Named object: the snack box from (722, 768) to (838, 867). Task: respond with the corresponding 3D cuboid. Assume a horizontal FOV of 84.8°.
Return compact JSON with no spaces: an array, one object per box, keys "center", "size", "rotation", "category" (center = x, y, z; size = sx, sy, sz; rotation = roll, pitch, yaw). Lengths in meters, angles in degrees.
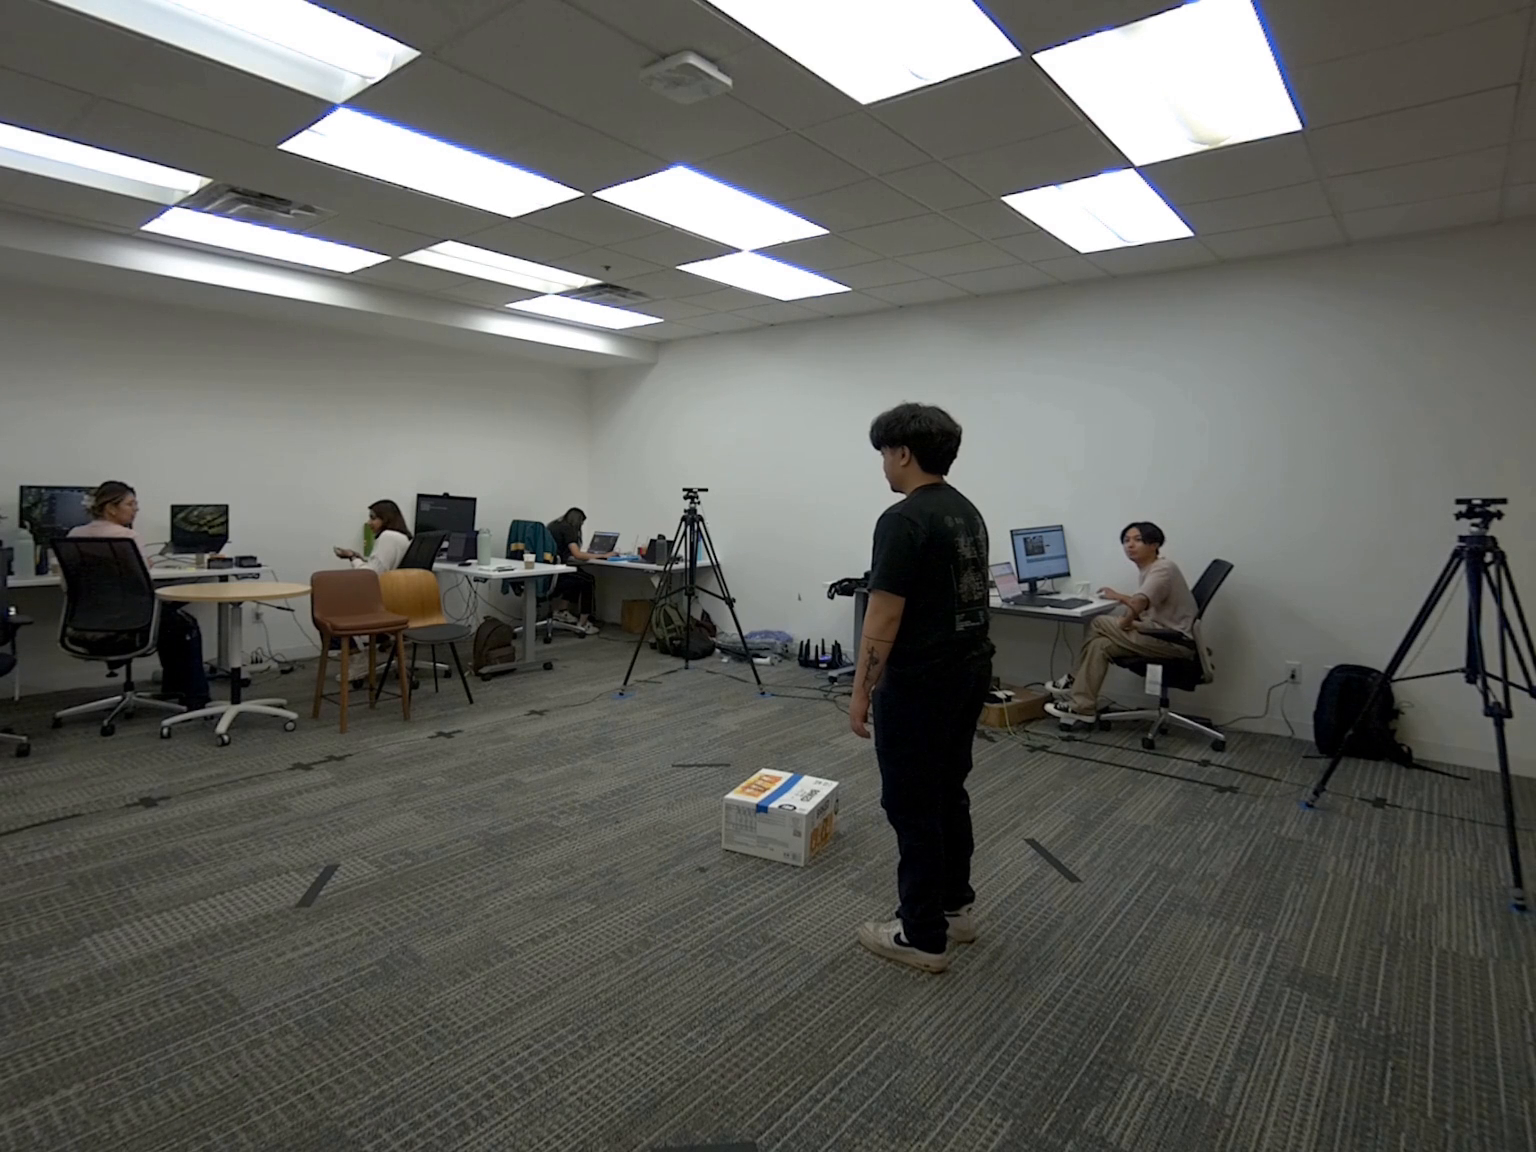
[{"center":[0.048,0.944,3.380],"size":[0.349,0.205,0.396],"rotation":[3,5,24],"category":"snack box"}]
